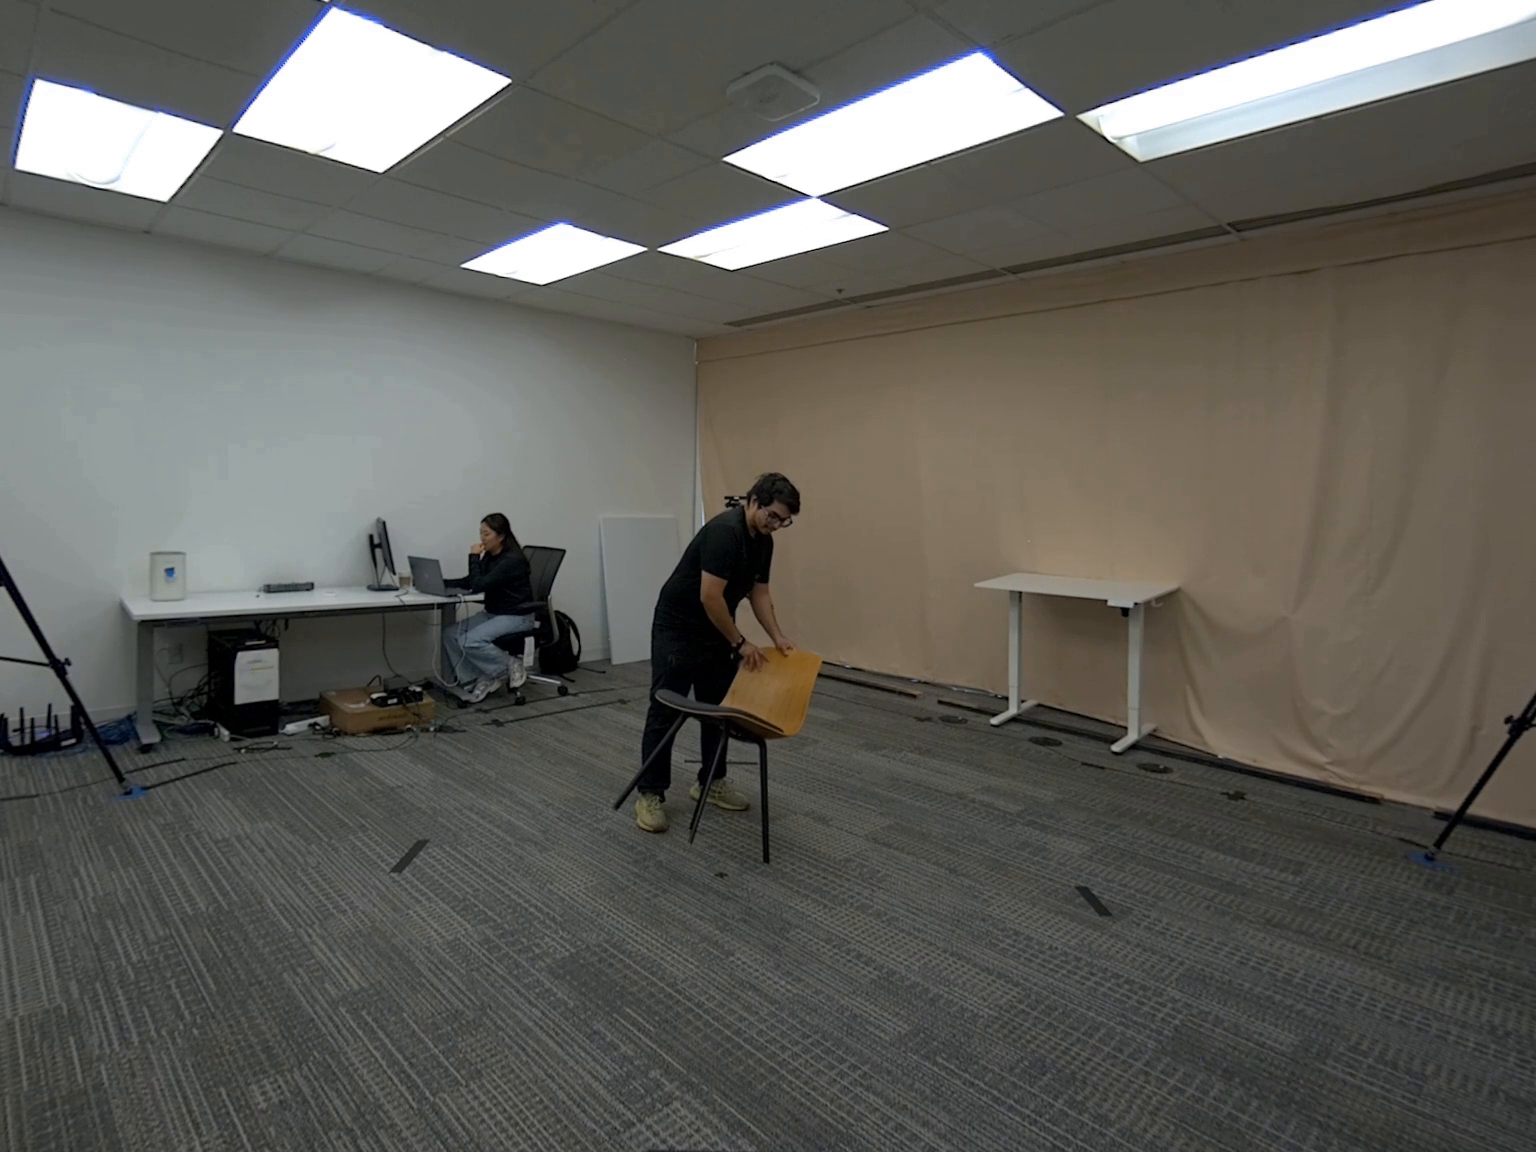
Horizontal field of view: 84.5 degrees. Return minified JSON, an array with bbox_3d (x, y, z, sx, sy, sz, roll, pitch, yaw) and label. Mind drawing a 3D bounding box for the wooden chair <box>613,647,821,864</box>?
[{"bbox_3d":[-0.173,0.602,3.299,0.490,0.883,0.506,4,-25,44],"label":"wooden chair"}]
